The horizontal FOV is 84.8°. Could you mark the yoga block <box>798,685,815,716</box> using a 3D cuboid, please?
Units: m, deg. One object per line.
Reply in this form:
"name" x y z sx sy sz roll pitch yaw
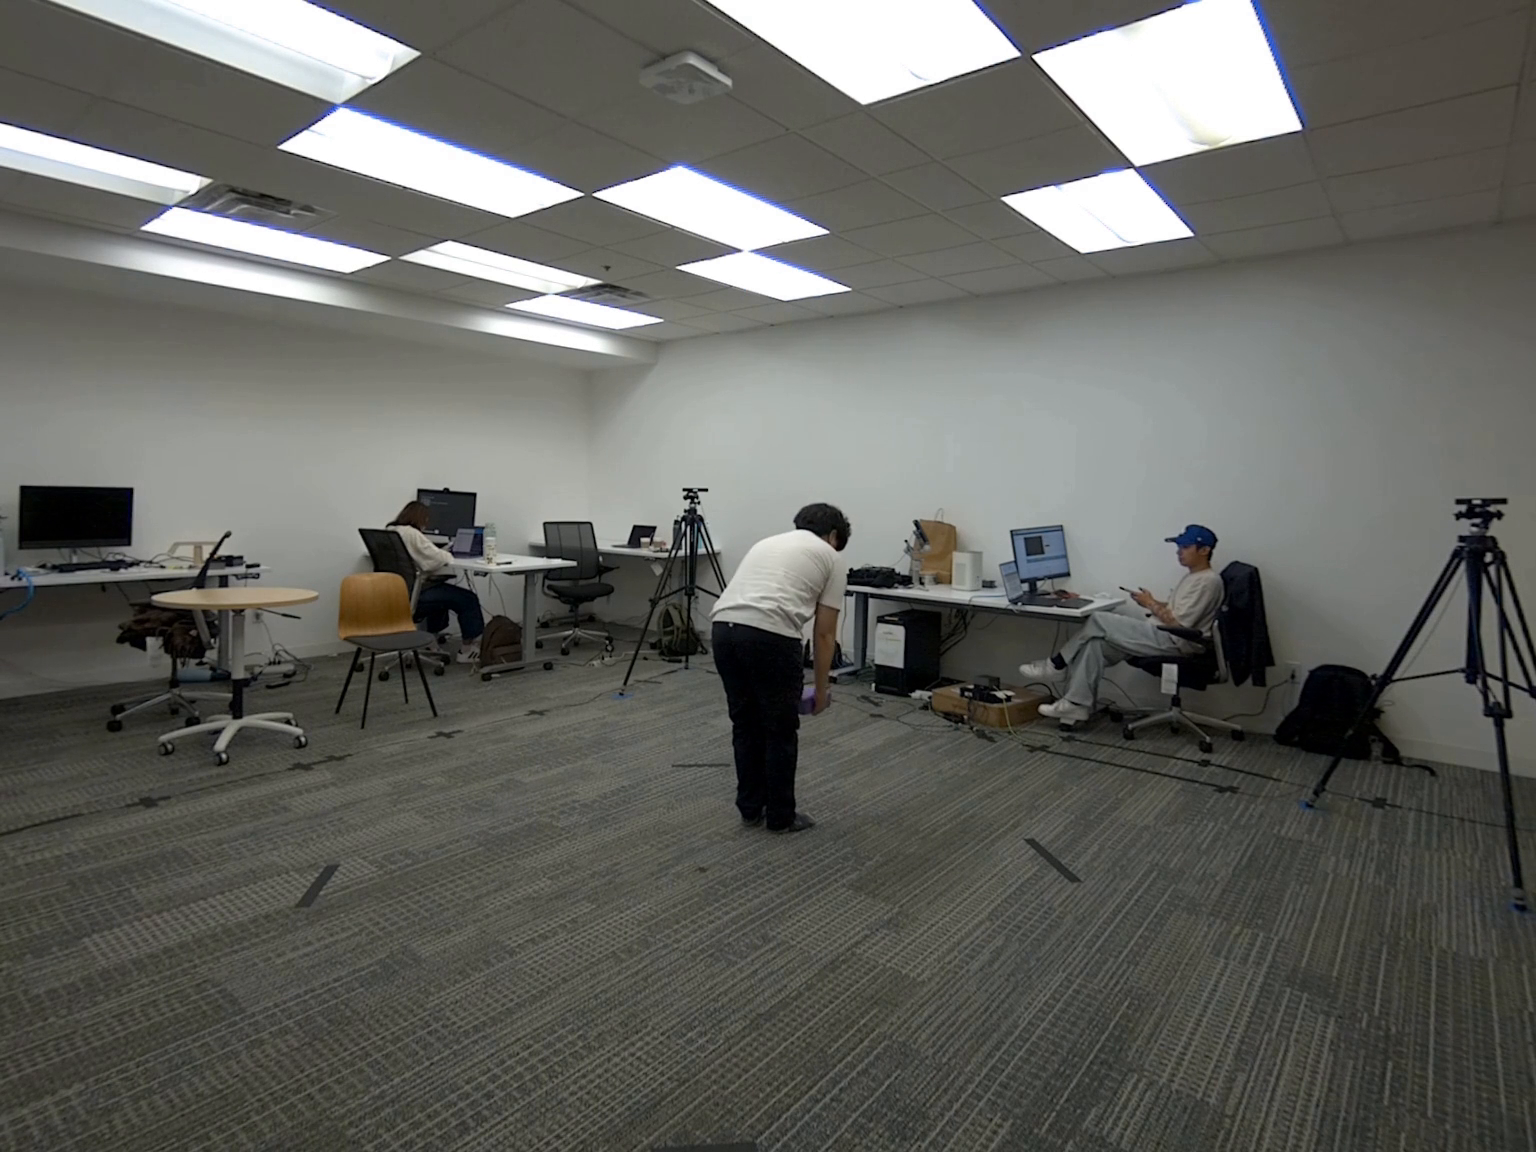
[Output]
"yoga block" 0.151 0.540 3.740 0.154 0.076 0.223 5 6 33
